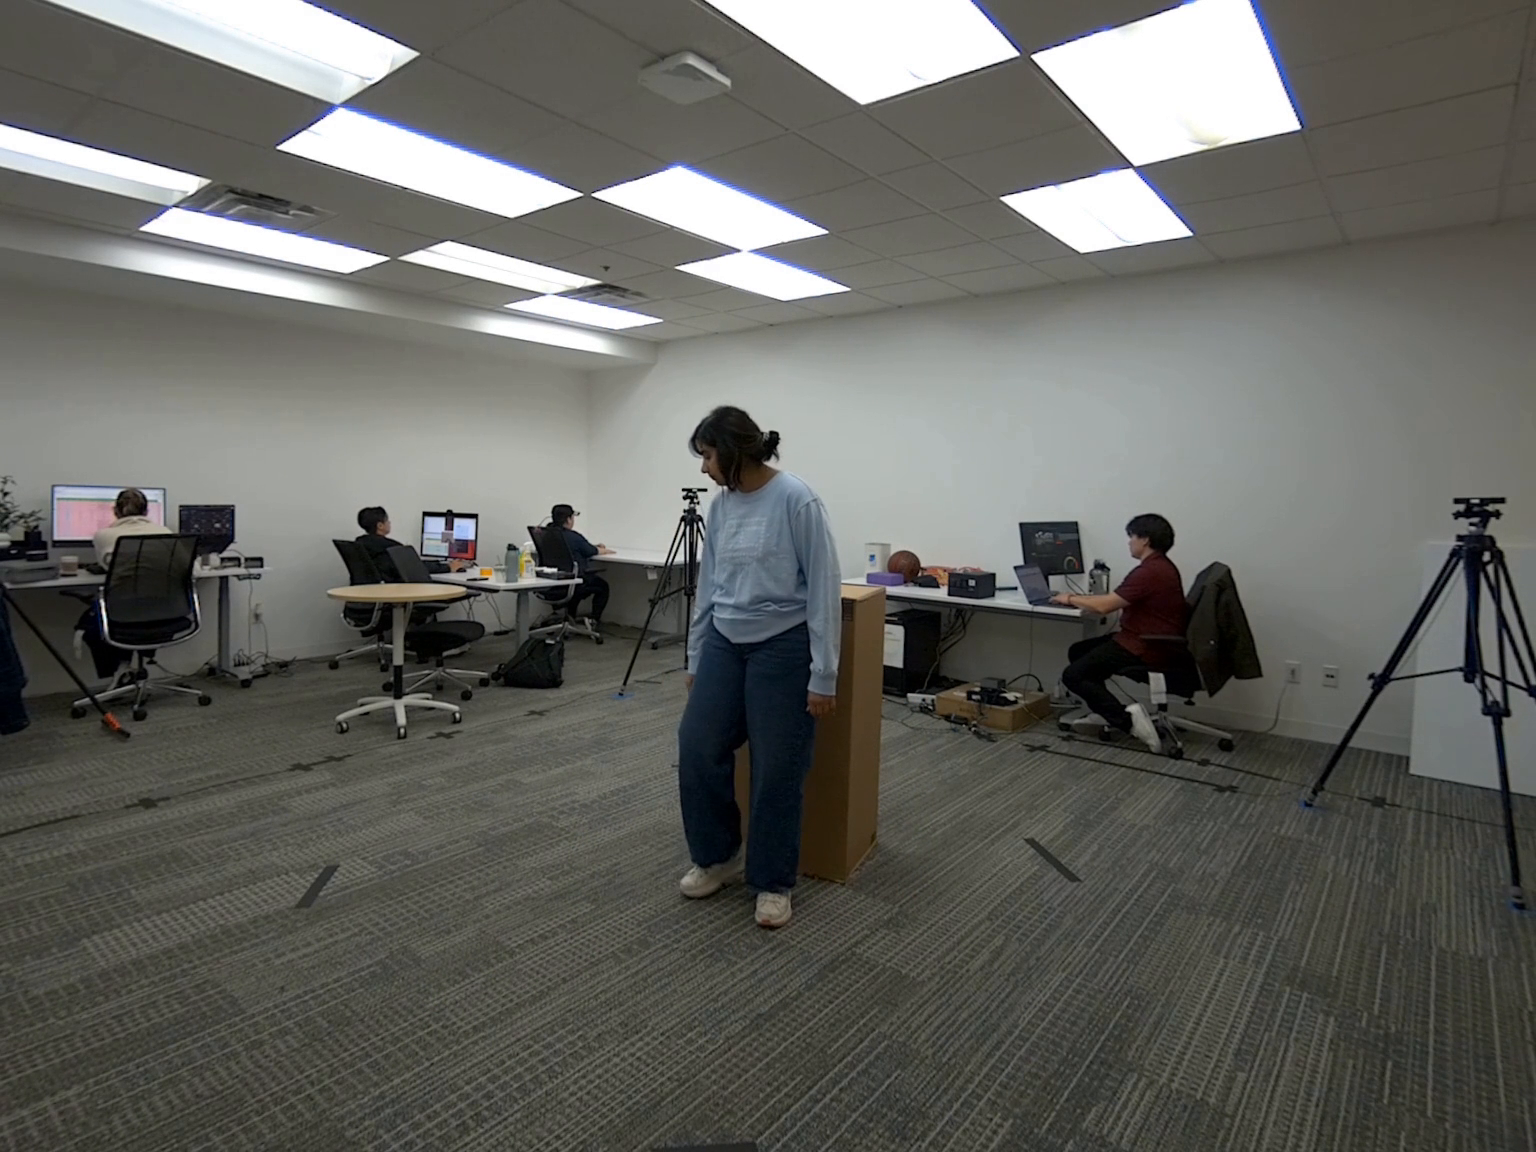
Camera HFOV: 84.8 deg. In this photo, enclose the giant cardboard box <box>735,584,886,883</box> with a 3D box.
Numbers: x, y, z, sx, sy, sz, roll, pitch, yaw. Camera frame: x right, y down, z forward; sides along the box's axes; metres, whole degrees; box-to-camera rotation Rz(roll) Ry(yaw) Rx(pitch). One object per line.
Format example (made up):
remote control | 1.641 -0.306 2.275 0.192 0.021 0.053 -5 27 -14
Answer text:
giant cardboard box | 0.103 0.547 3.296 0.593 1.022 0.416 3 4 25
